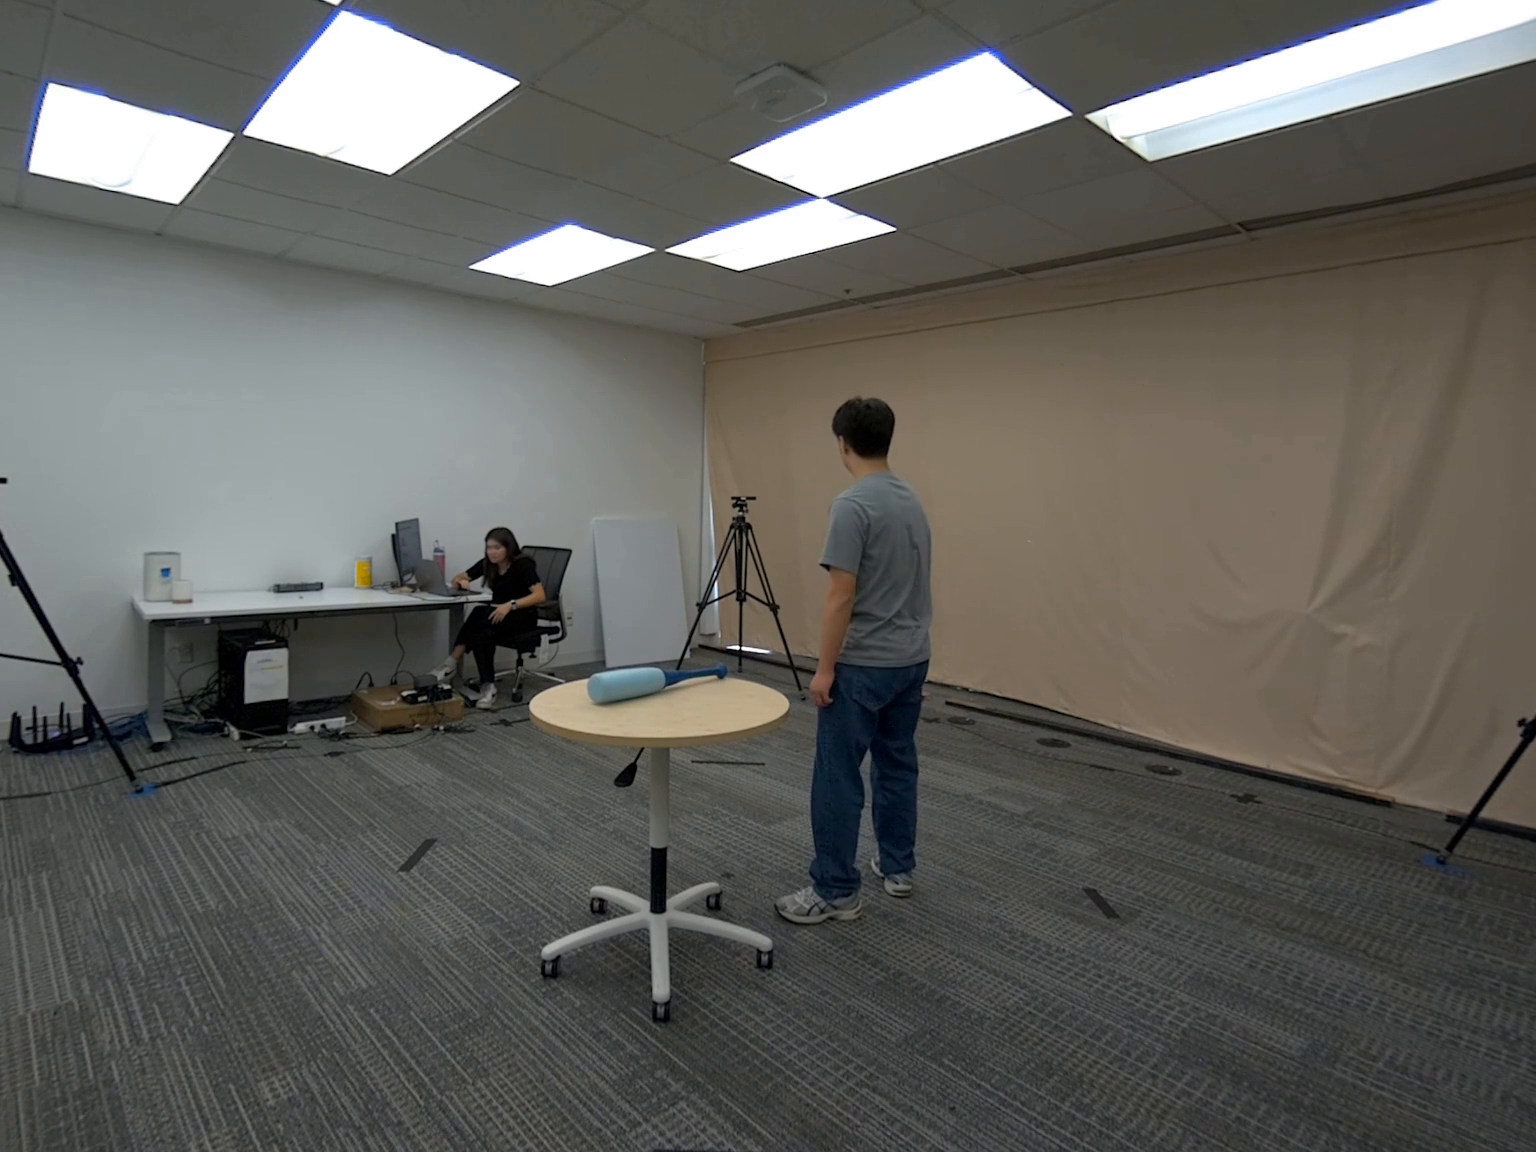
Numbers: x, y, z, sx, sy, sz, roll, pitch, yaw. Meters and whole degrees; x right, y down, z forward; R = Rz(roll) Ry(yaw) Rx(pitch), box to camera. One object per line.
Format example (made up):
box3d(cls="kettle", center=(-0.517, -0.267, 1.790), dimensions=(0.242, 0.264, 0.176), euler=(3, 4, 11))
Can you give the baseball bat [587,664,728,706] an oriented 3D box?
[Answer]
box3d(cls="baseball bat", center=(-0.335, 0.323, 2.631), dimensions=(0.091, 0.089, 0.530), euler=(5, 5, 41))
